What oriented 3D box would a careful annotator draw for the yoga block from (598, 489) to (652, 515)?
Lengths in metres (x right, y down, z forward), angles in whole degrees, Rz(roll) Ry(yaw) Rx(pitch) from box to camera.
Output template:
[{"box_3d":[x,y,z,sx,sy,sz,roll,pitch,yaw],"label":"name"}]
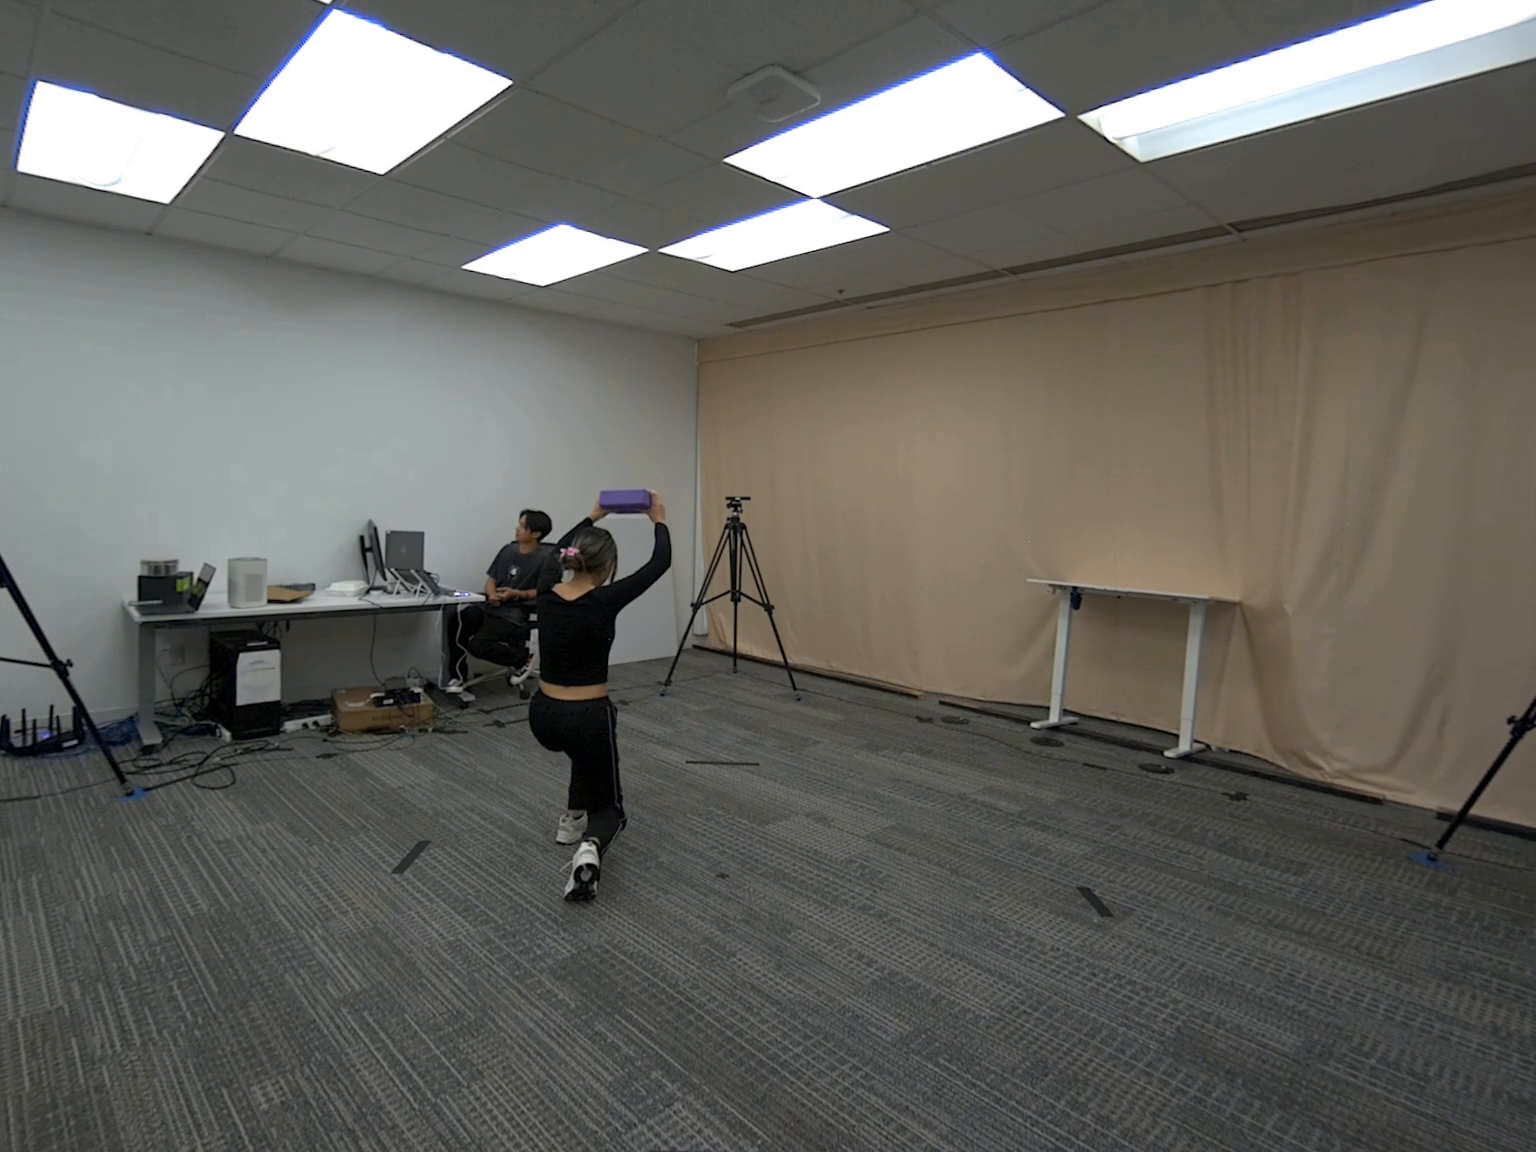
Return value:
[{"box_3d":[-0.613,-0.325,3.647,0.233,0.077,0.145,0,-10,22],"label":"yoga block"}]
